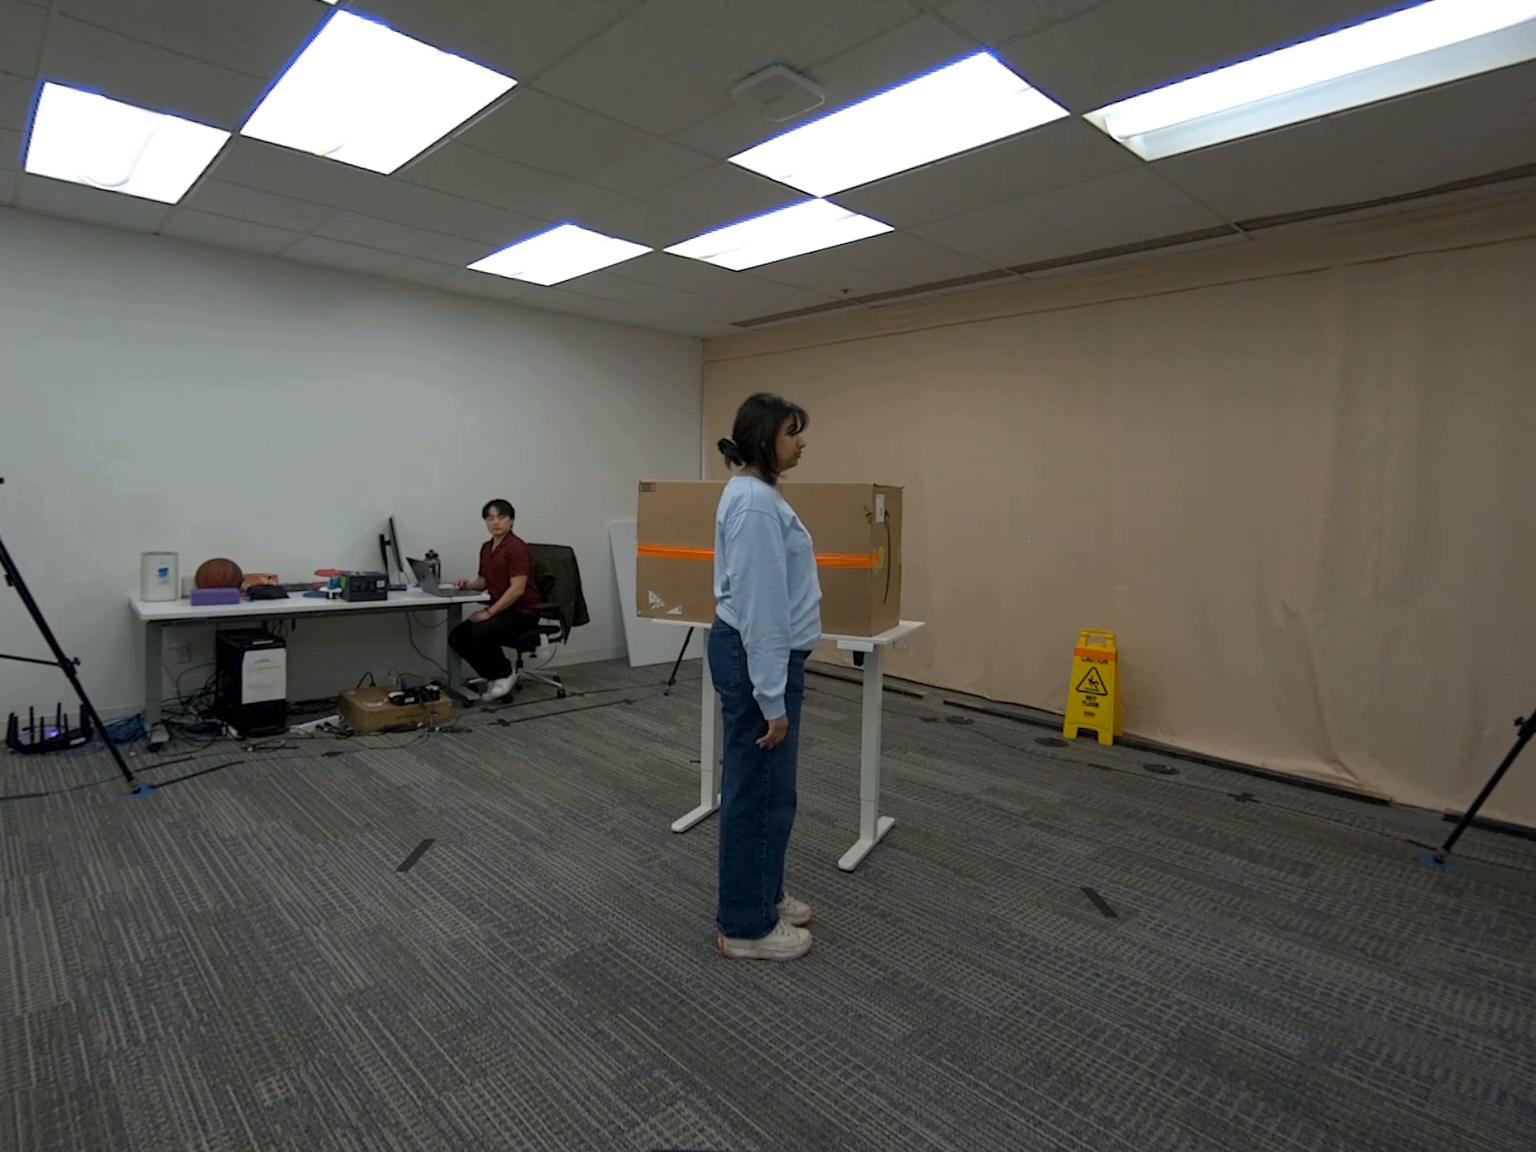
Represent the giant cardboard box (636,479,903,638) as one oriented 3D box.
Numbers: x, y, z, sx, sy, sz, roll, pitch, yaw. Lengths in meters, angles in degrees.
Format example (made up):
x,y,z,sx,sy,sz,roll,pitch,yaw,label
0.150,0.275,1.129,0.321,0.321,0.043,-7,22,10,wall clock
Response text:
x,y,z,sx,sy,sz,roll,pitch,yaw,label
-0.003,-0.096,3.507,1.046,0.576,0.419,3,4,25,giant cardboard box
